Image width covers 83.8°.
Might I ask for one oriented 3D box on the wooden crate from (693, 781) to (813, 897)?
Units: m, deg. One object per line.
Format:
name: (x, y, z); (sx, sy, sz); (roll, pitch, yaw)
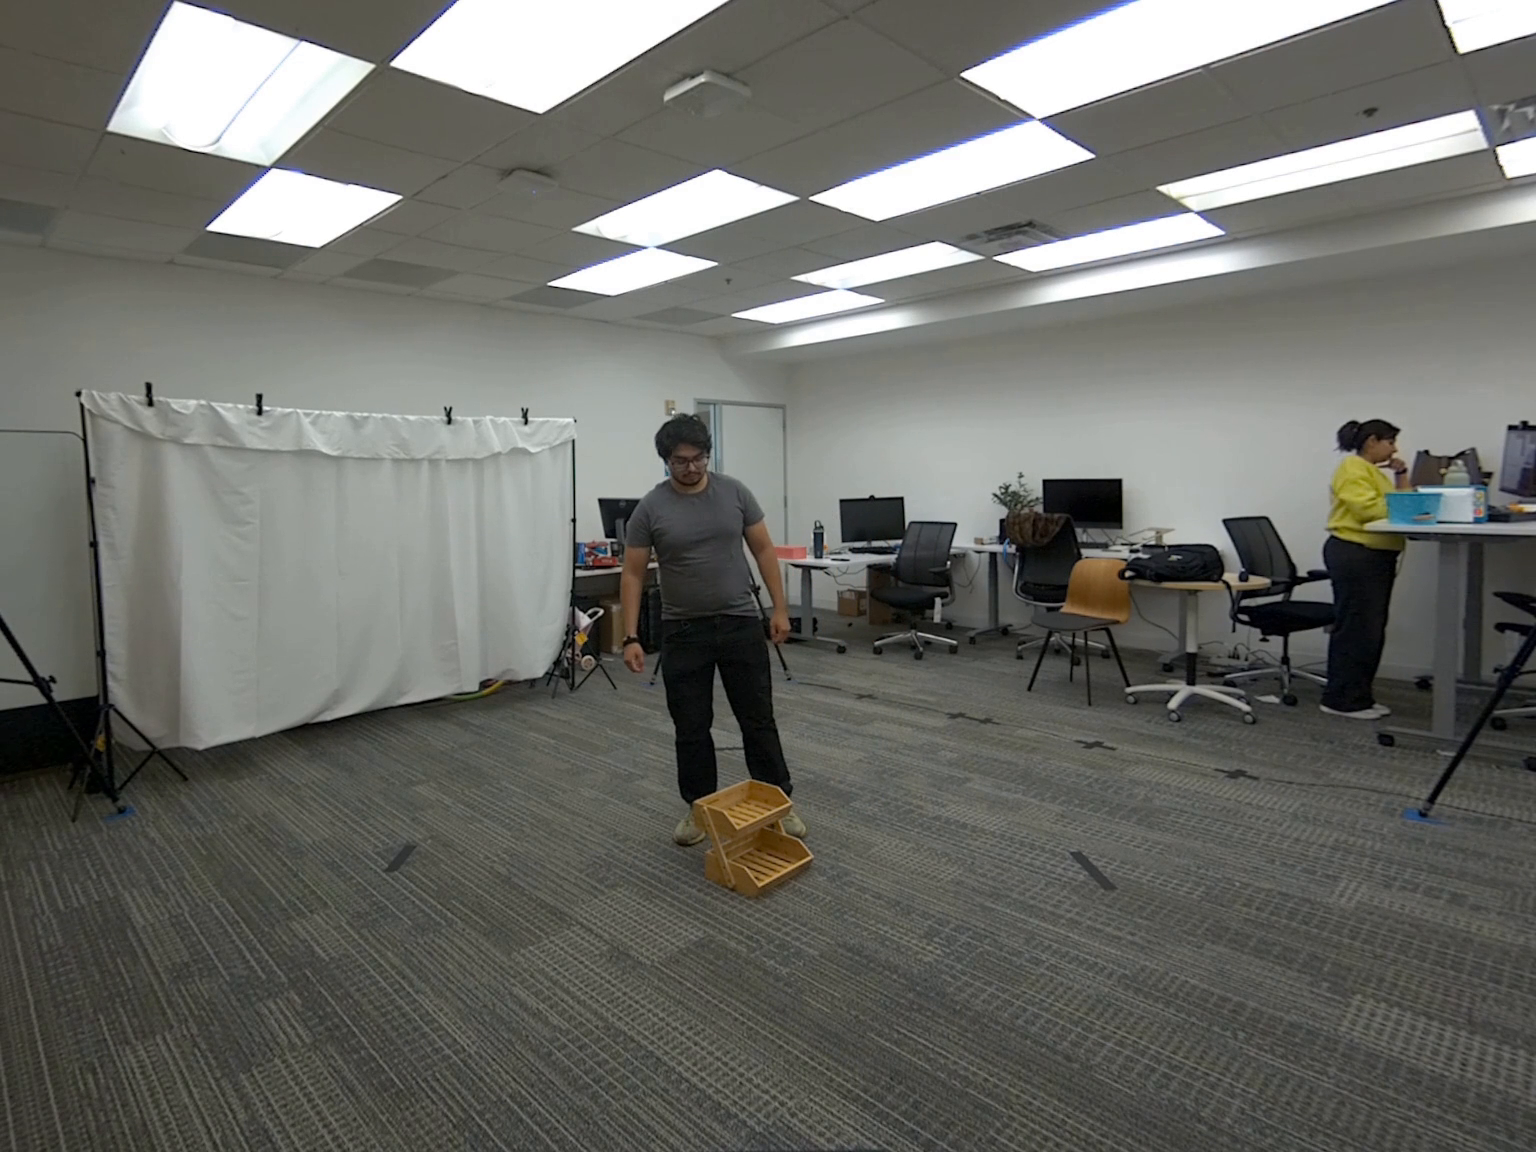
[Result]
wooden crate: (-0.046, 0.921, 3.029); (0.311, 0.272, 0.316); (3, 6, 42)
